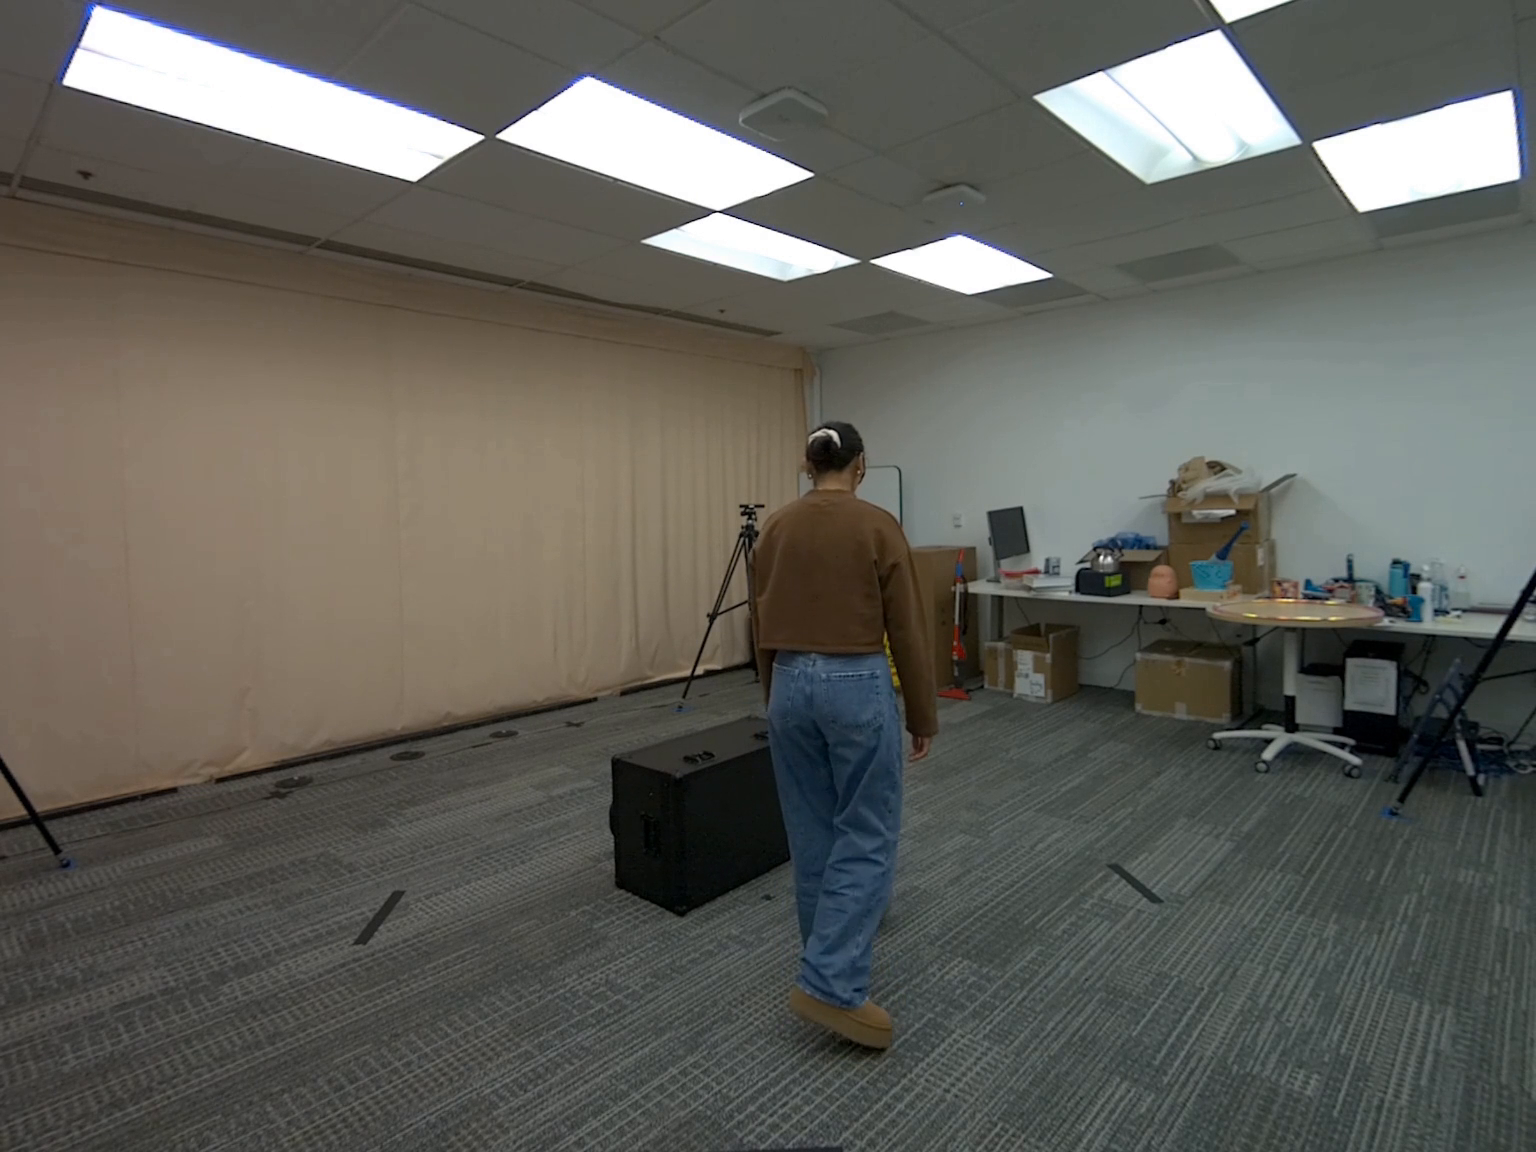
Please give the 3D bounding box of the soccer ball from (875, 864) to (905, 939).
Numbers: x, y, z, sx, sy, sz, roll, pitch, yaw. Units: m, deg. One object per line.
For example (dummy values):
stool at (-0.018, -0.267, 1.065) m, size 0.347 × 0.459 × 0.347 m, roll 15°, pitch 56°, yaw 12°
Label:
soccer ball at (0.335, 1.053, 2.795) m, size 0.187 × 0.187 × 0.188 m, roll -1°, pitch 4°, yaw -2°
